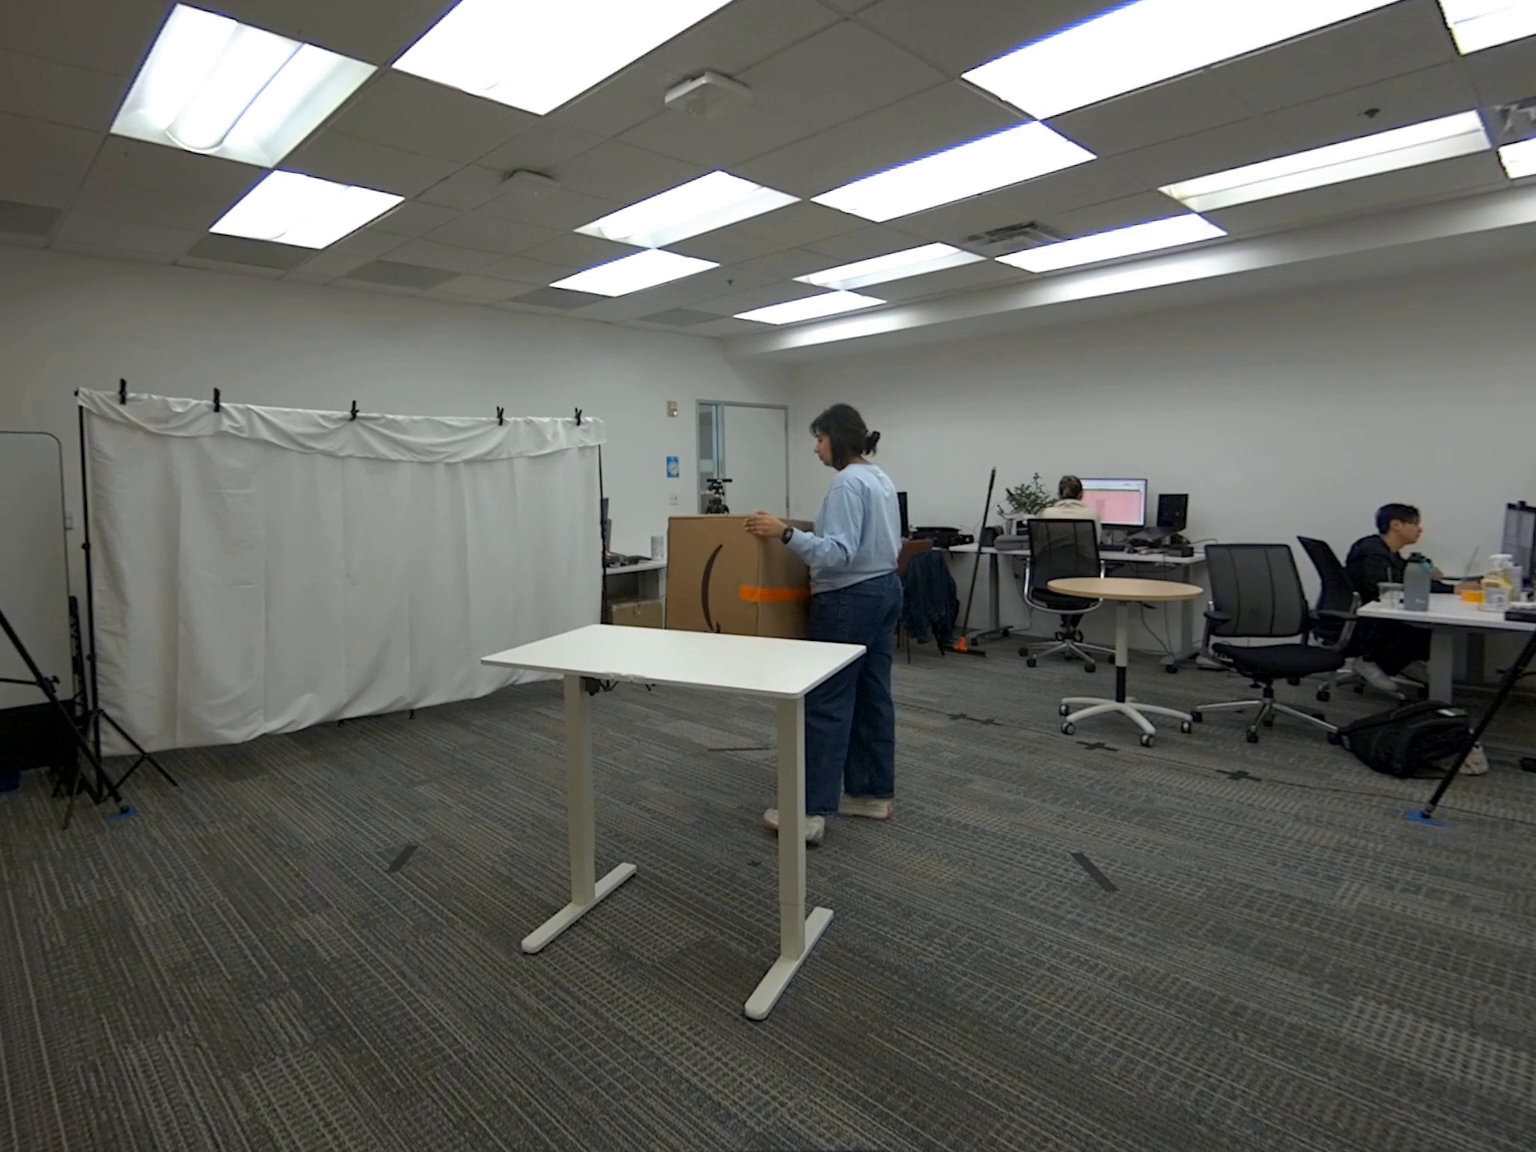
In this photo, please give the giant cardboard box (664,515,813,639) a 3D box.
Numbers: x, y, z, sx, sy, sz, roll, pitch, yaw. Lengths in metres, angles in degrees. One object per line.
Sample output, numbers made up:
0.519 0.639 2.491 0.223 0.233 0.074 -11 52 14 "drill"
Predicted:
0.029 0.054 3.666 0.438 0.578 0.999 2 1 30 "giant cardboard box"
